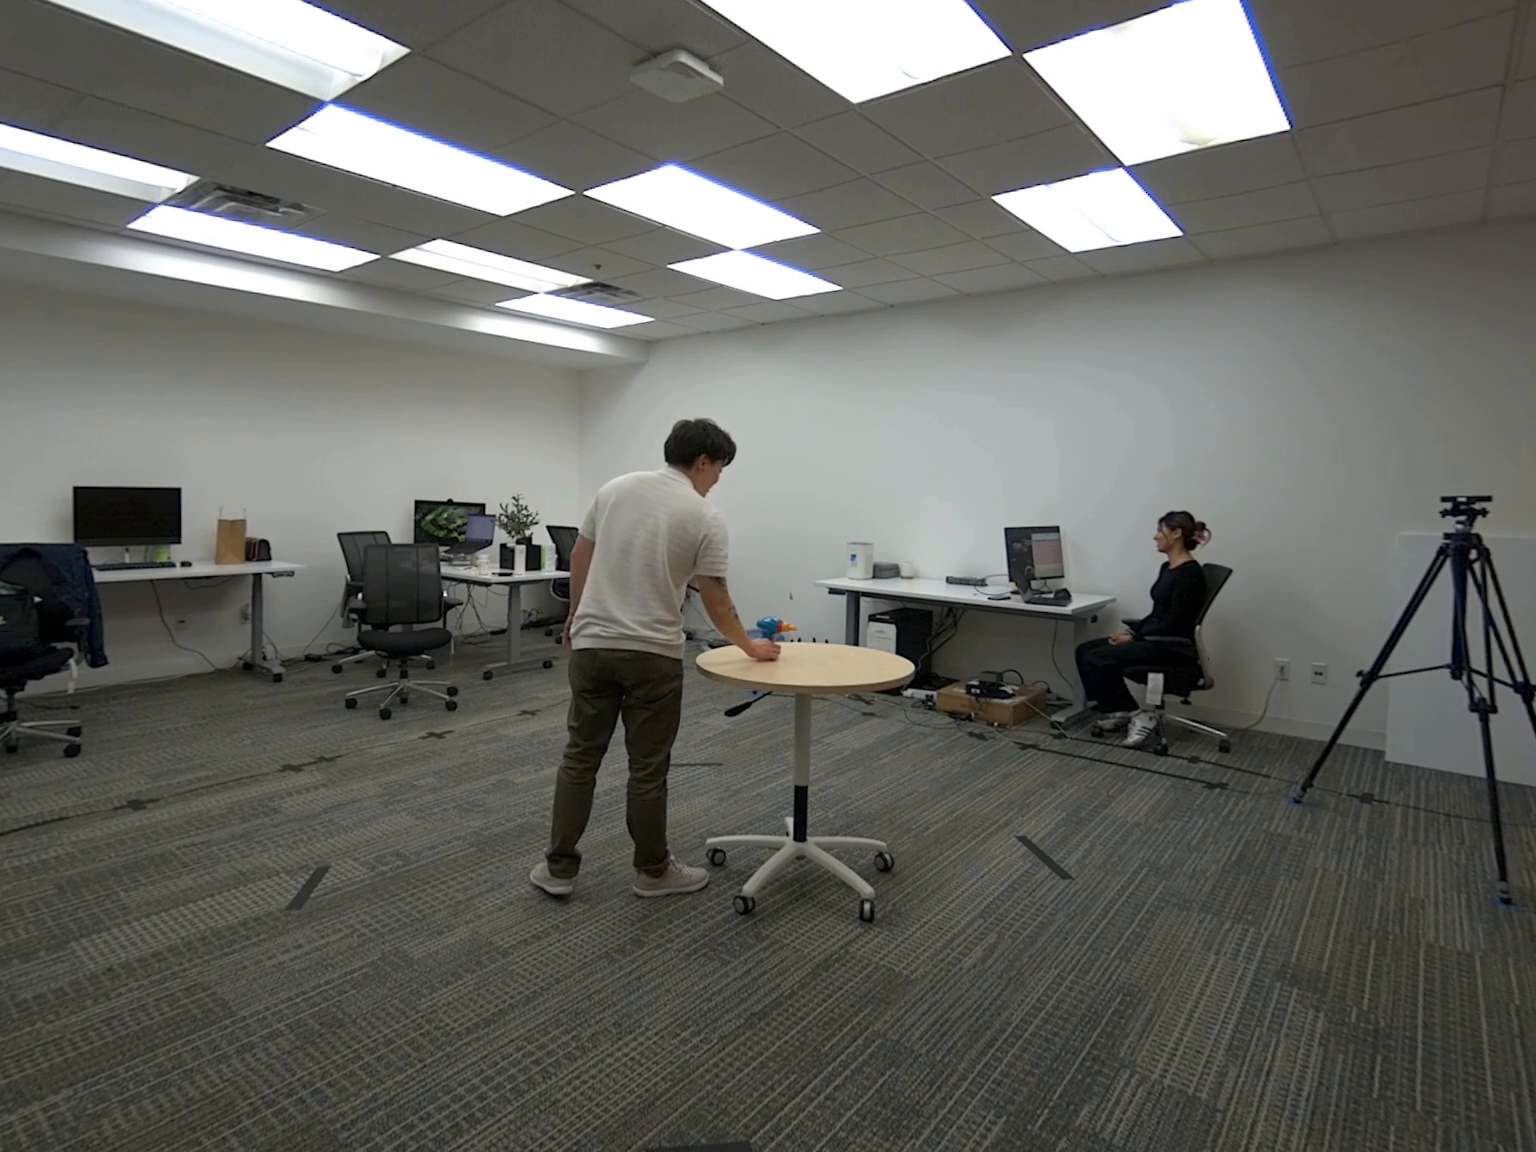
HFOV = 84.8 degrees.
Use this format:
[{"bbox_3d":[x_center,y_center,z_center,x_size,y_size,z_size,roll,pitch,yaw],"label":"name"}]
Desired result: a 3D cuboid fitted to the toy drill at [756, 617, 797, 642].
[{"bbox_3d":[0.034,0.220,3.071,0.175,0.145,0.060,4,6,29],"label":"toy drill"}]
